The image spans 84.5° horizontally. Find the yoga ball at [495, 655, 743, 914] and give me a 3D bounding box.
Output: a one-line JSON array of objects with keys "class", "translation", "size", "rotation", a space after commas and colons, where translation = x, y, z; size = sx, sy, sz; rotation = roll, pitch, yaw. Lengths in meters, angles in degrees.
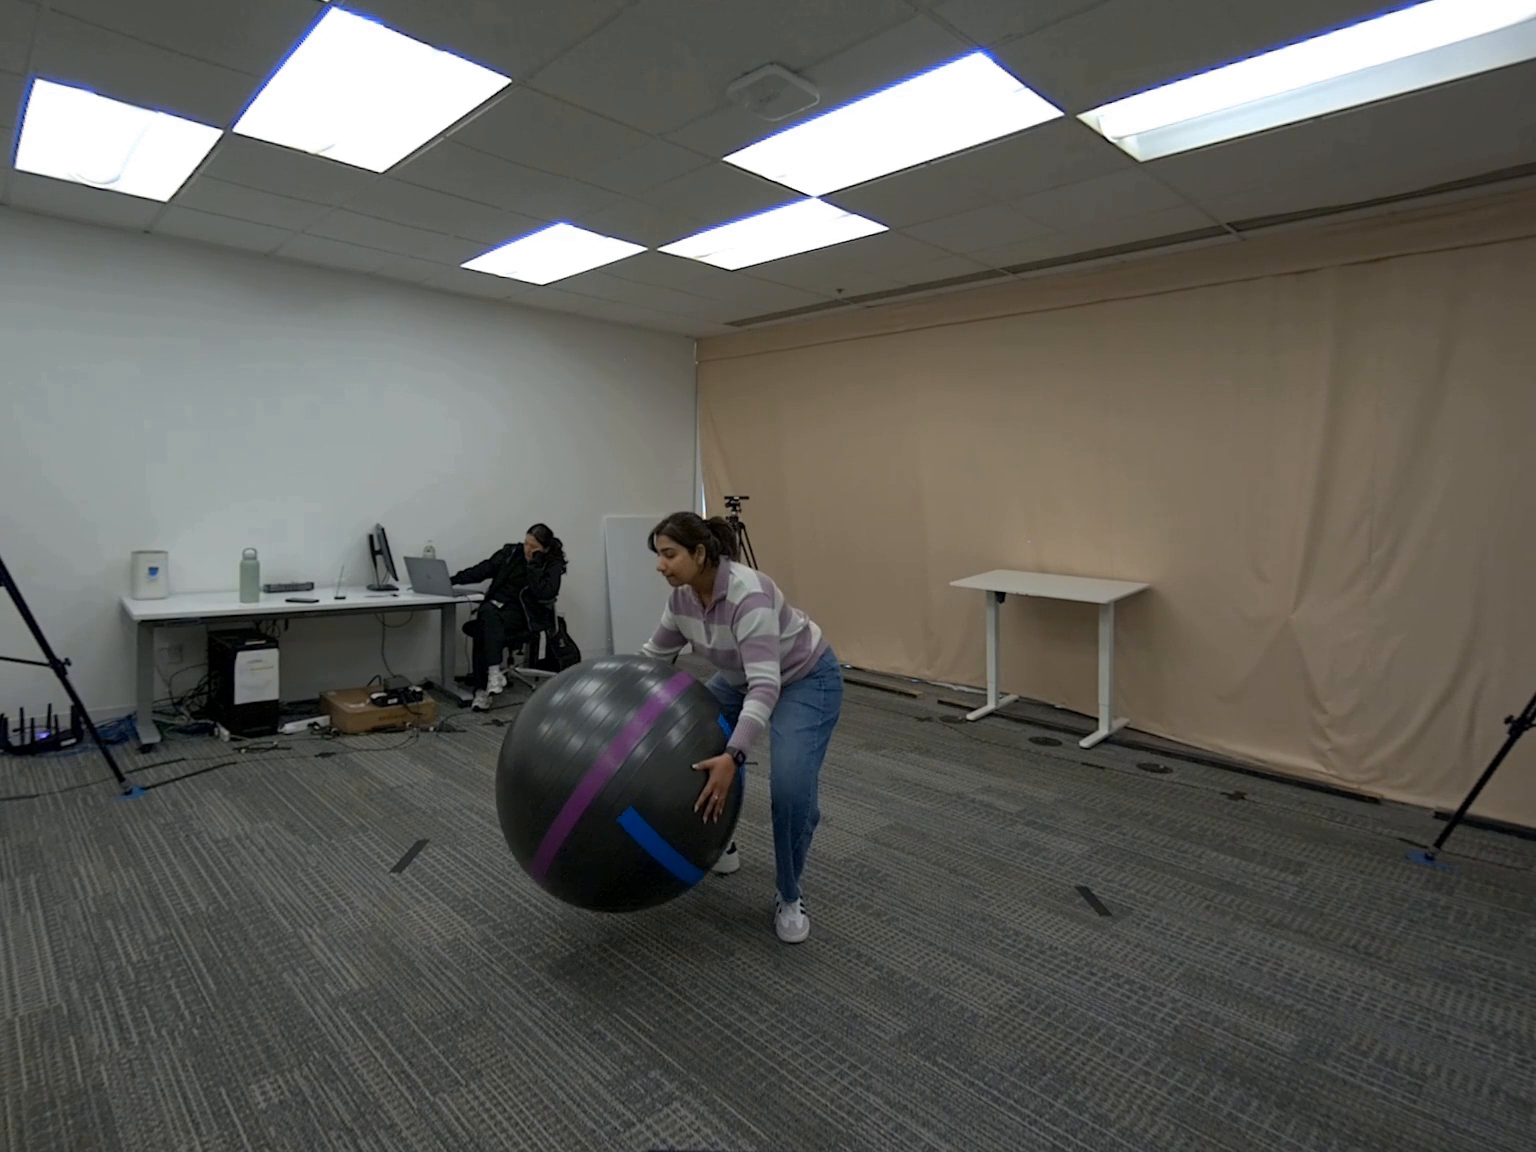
[{"class": "yoga ball", "translation": [-0.456, 0.632, 2.586], "size": [0.757, 0.756, 0.761], "rotation": [1, 4, -1]}]
